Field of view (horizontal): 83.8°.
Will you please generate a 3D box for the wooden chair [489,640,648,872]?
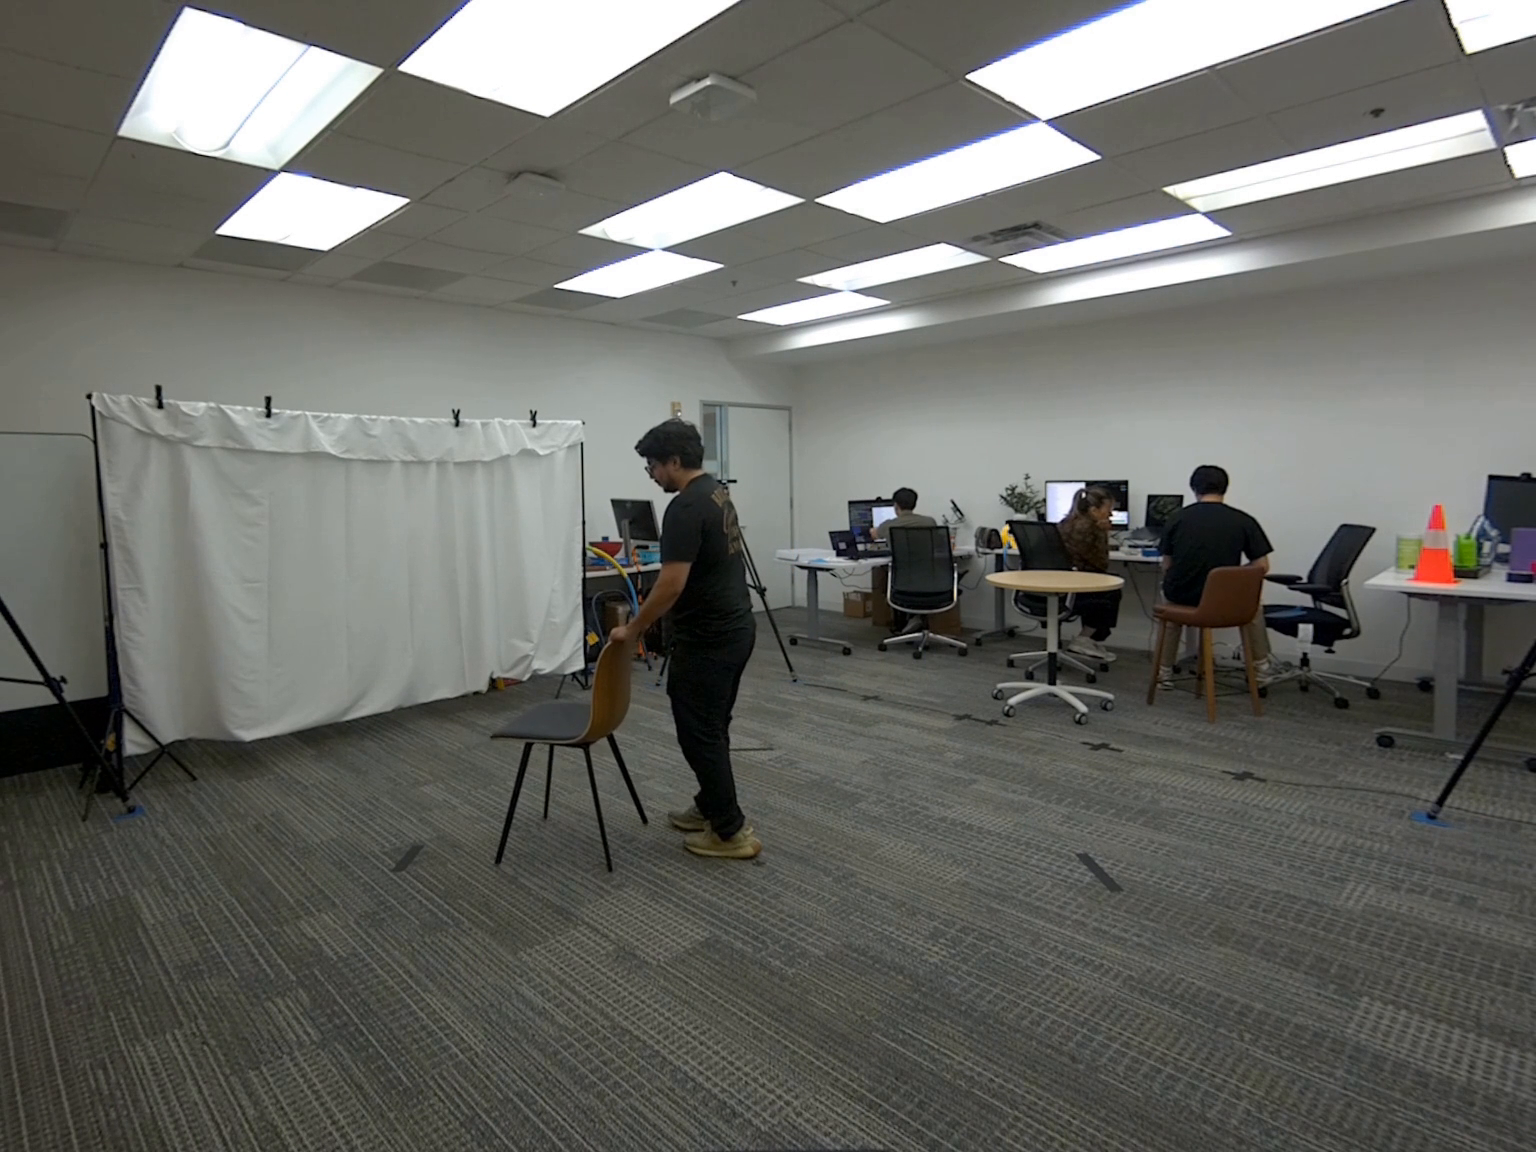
[{"bbox_3d":[-0.765,0.610,3.283,0.529,0.873,0.475,4,6,10],"label":"wooden chair"}]
